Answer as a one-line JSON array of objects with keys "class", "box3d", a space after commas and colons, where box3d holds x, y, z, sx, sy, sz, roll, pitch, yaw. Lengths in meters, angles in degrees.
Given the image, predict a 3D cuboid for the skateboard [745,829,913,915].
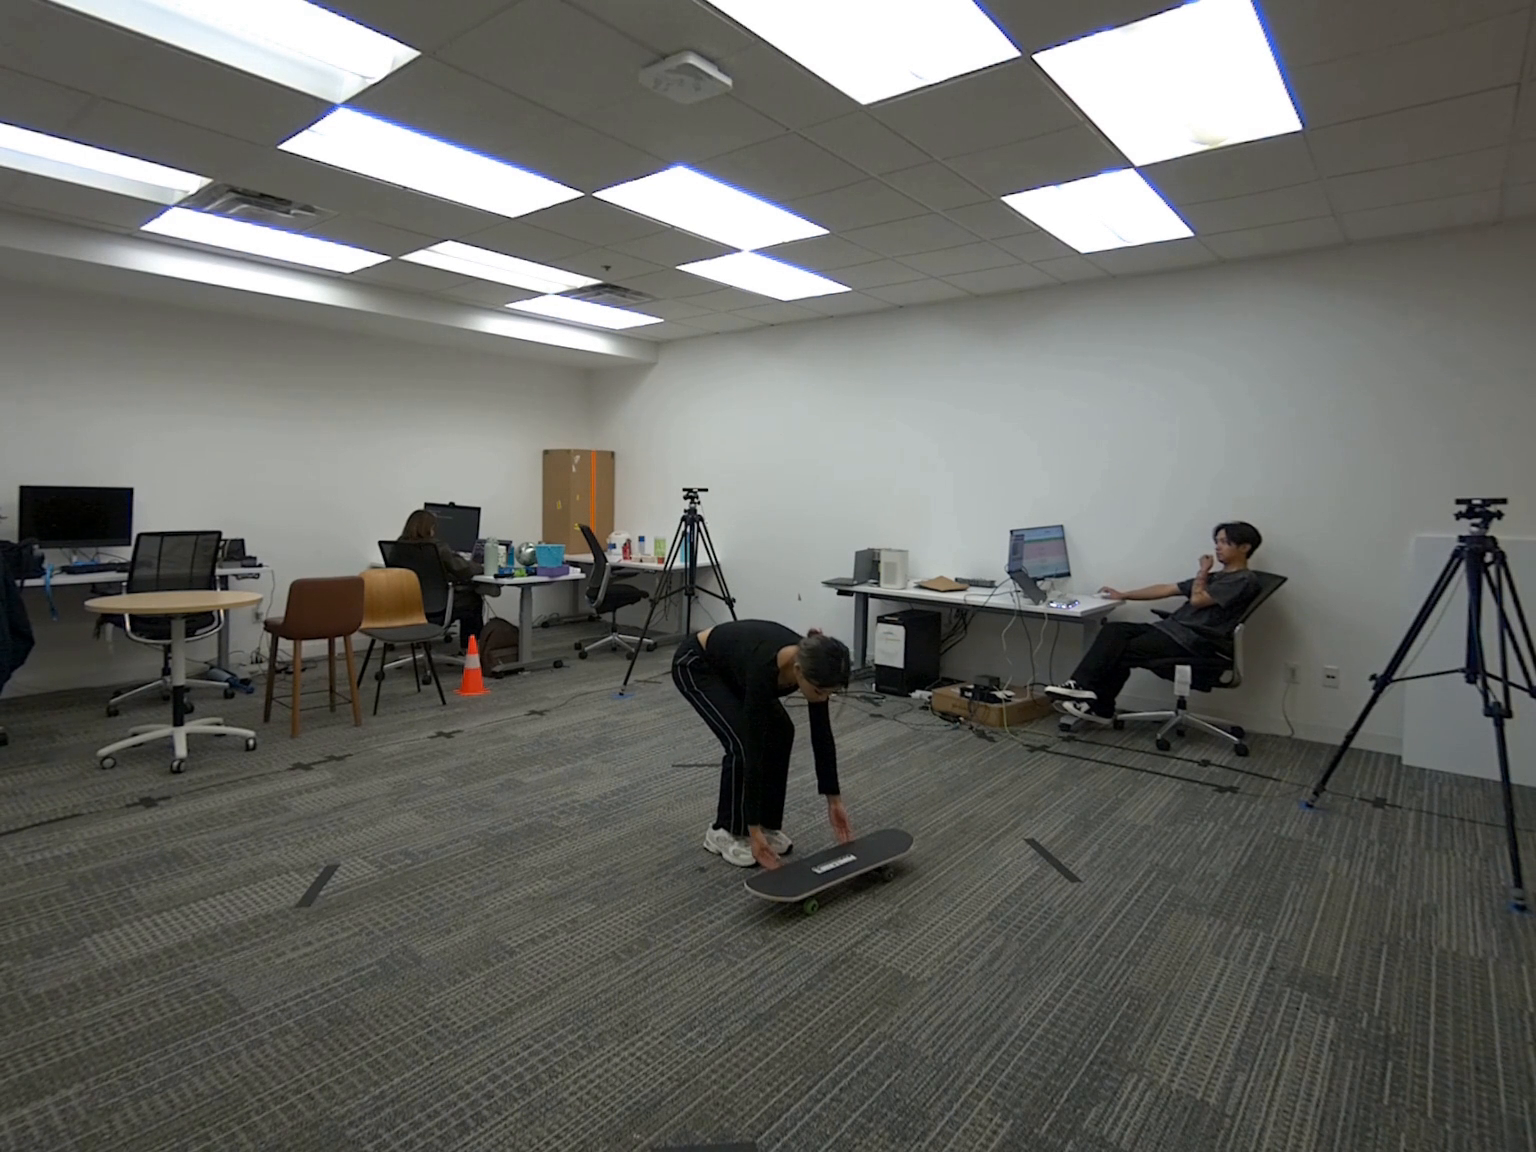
[{"class": "skateboard", "box3d": [0.230, 1.031, 2.983, 0.762, 0.110, 0.200, -4, 8, -41]}]
